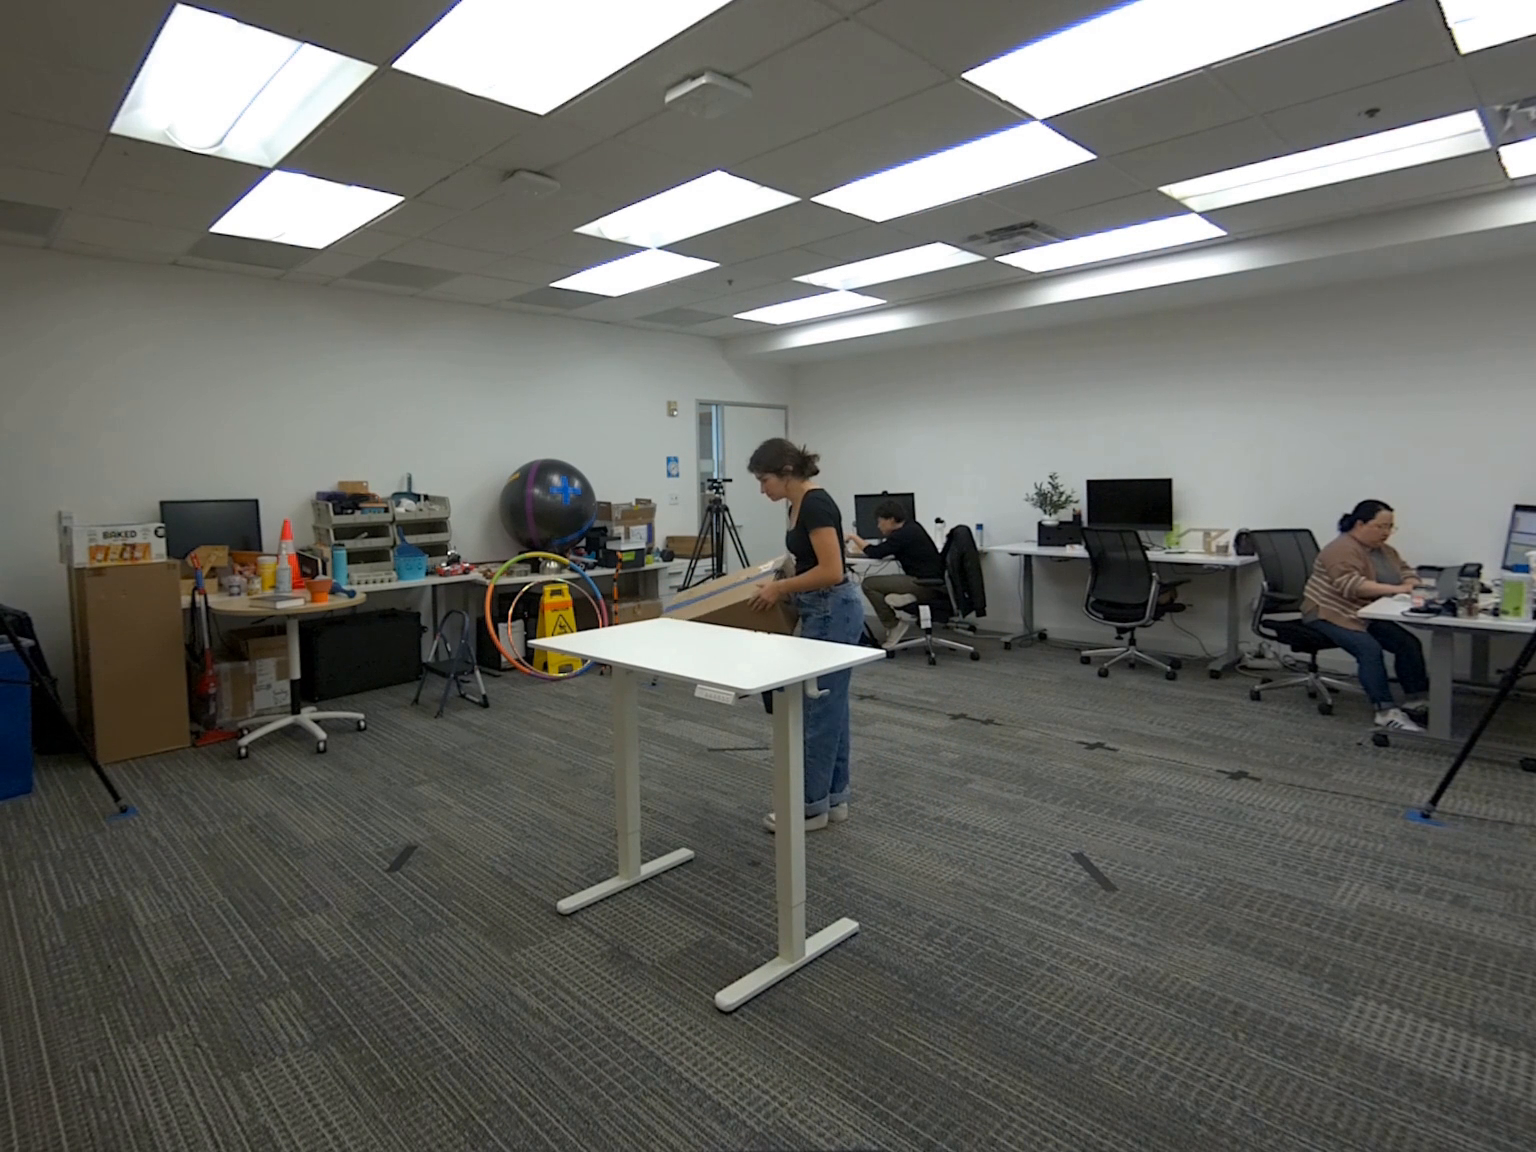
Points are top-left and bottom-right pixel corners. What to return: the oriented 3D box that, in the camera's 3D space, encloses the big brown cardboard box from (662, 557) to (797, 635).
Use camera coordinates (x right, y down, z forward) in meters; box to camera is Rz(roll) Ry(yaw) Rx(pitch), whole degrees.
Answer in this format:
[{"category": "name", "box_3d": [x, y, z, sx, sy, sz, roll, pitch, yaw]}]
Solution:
[{"category": "big brown cardboard box", "box_3d": [-0.155, 0.157, 3.620, 0.595, 0.229, 0.420, -21, 15, 20]}]
